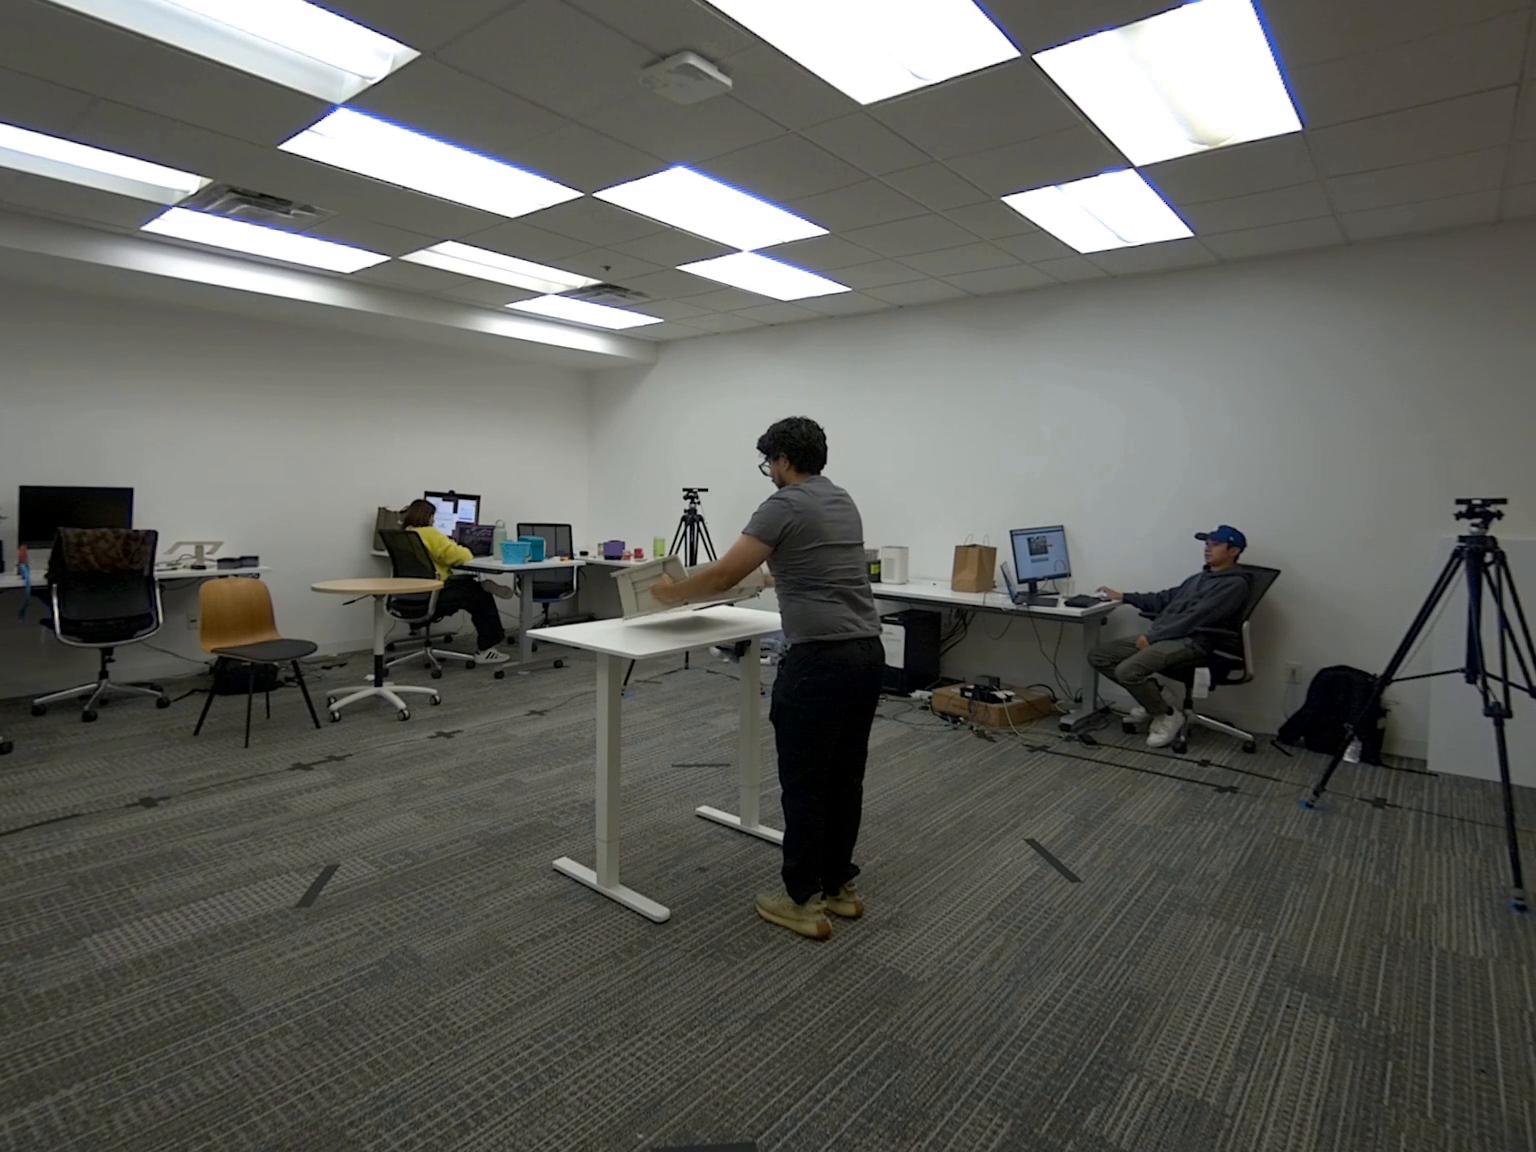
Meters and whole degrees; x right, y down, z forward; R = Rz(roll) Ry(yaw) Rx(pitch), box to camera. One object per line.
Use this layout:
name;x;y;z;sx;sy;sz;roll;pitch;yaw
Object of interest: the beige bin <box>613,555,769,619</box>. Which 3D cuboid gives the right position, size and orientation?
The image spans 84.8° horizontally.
beige bin;-0.297;0.027;3.164;0.385;0.190;0.410;-16;-7;38
